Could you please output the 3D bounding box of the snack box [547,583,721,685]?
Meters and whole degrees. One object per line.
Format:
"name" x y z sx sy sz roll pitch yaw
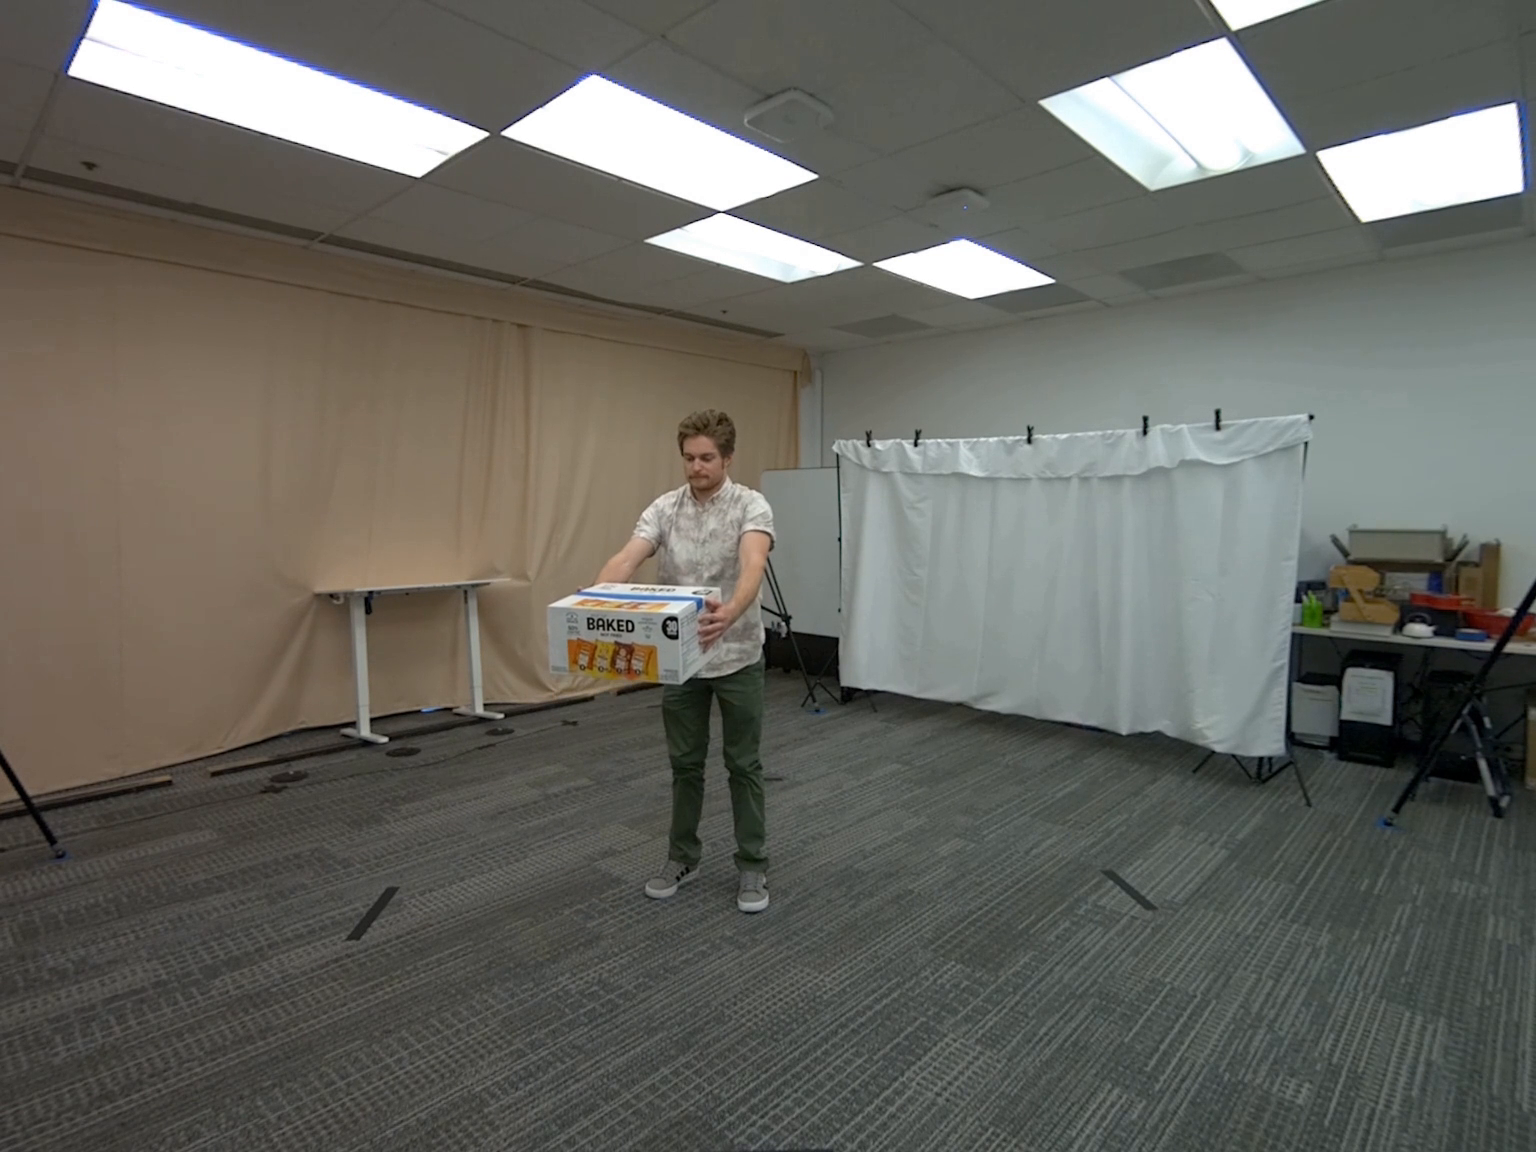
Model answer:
"snack box" -0.385 0.162 2.475 0.413 0.204 0.336 2 11 17
